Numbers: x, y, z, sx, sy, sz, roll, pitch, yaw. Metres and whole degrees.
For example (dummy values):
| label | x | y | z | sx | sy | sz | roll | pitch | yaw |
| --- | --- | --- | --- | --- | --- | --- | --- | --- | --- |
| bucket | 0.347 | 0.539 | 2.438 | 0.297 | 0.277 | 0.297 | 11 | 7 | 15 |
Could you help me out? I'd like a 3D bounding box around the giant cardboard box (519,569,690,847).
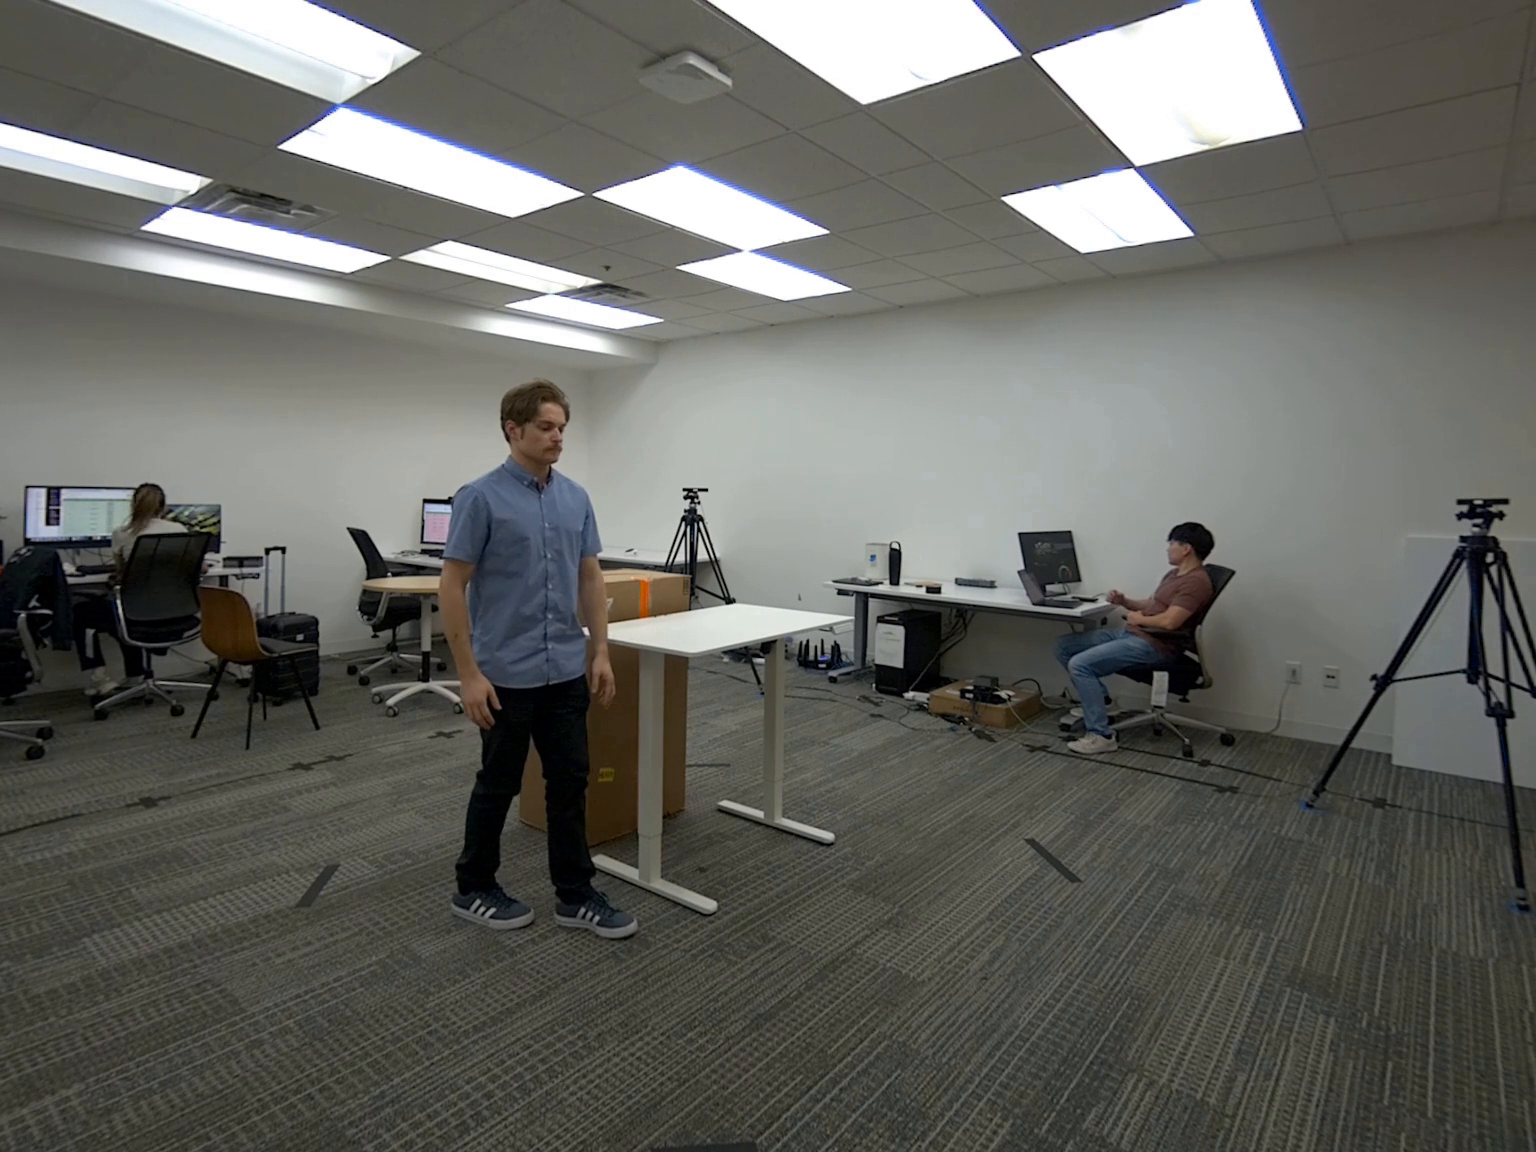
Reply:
| label | x | y | z | sx | sy | sz | roll | pitch | yaw |
| --- | --- | --- | --- | --- | --- | --- | --- | --- | --- |
| giant cardboard box | -0.691 | 0.504 | 3.591 | 0.440 | 1.023 | 0.560 | 3 | 3 | 39 |
